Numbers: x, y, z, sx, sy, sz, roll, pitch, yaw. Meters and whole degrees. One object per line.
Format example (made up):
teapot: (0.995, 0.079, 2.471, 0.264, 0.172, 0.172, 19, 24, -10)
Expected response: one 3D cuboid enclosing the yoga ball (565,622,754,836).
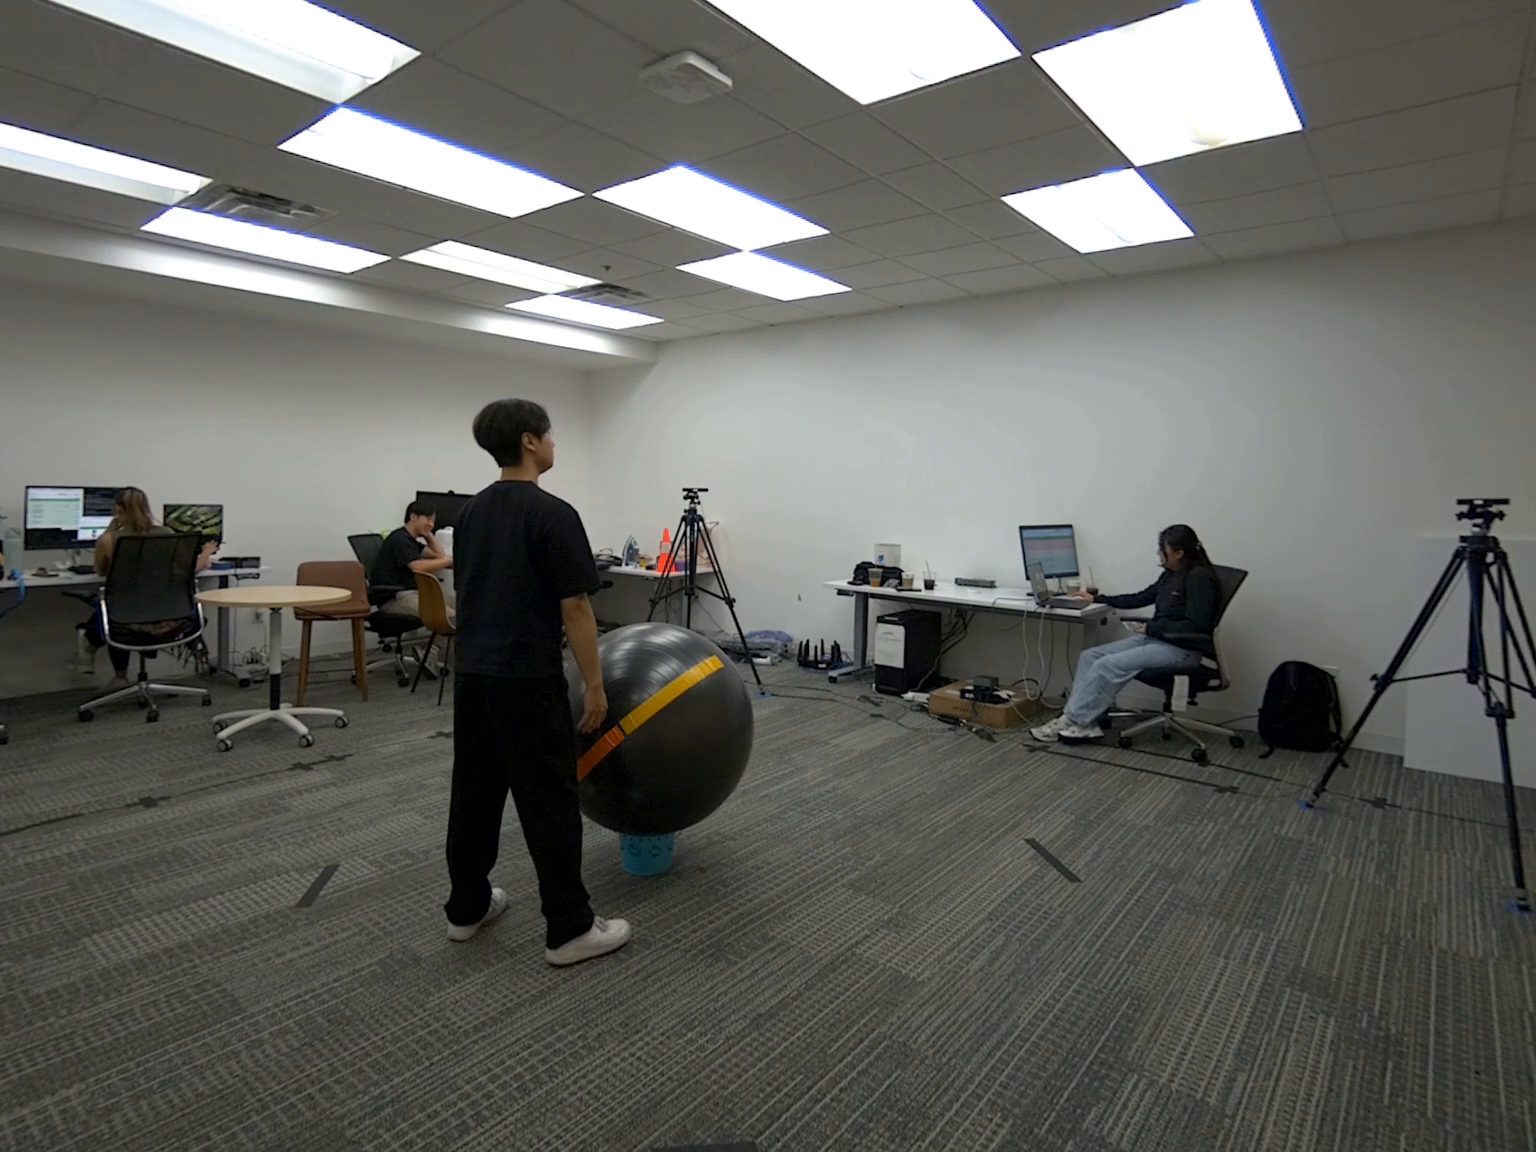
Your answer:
yoga ball: (-0.440, 0.552, 3.119, 0.757, 0.756, 0.761, 1, 4, -2)
